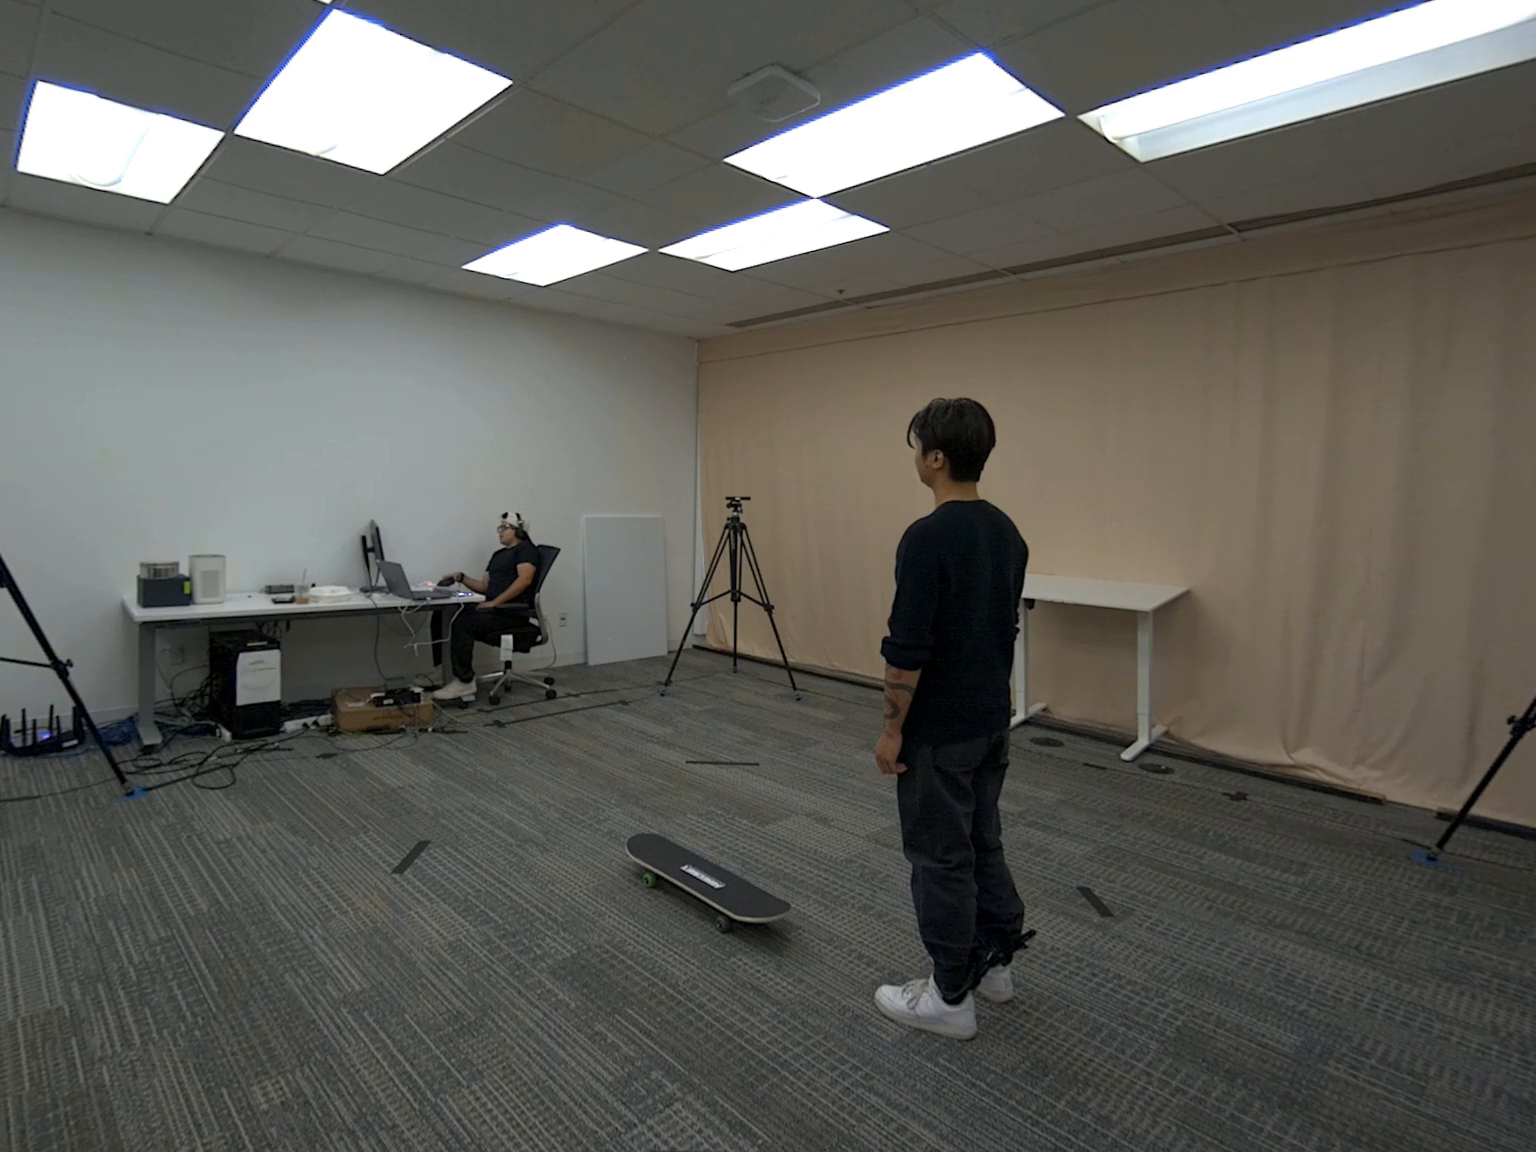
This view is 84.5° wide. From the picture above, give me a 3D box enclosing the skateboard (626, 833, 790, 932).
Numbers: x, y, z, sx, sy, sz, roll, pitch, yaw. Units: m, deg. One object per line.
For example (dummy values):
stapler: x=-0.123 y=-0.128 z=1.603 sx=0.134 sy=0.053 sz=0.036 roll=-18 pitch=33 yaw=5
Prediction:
skateboard: x=-0.235 y=1.069 z=2.901 sx=0.189 sy=0.110 sz=0.806 roll=-2 pitch=6 yaw=-42
